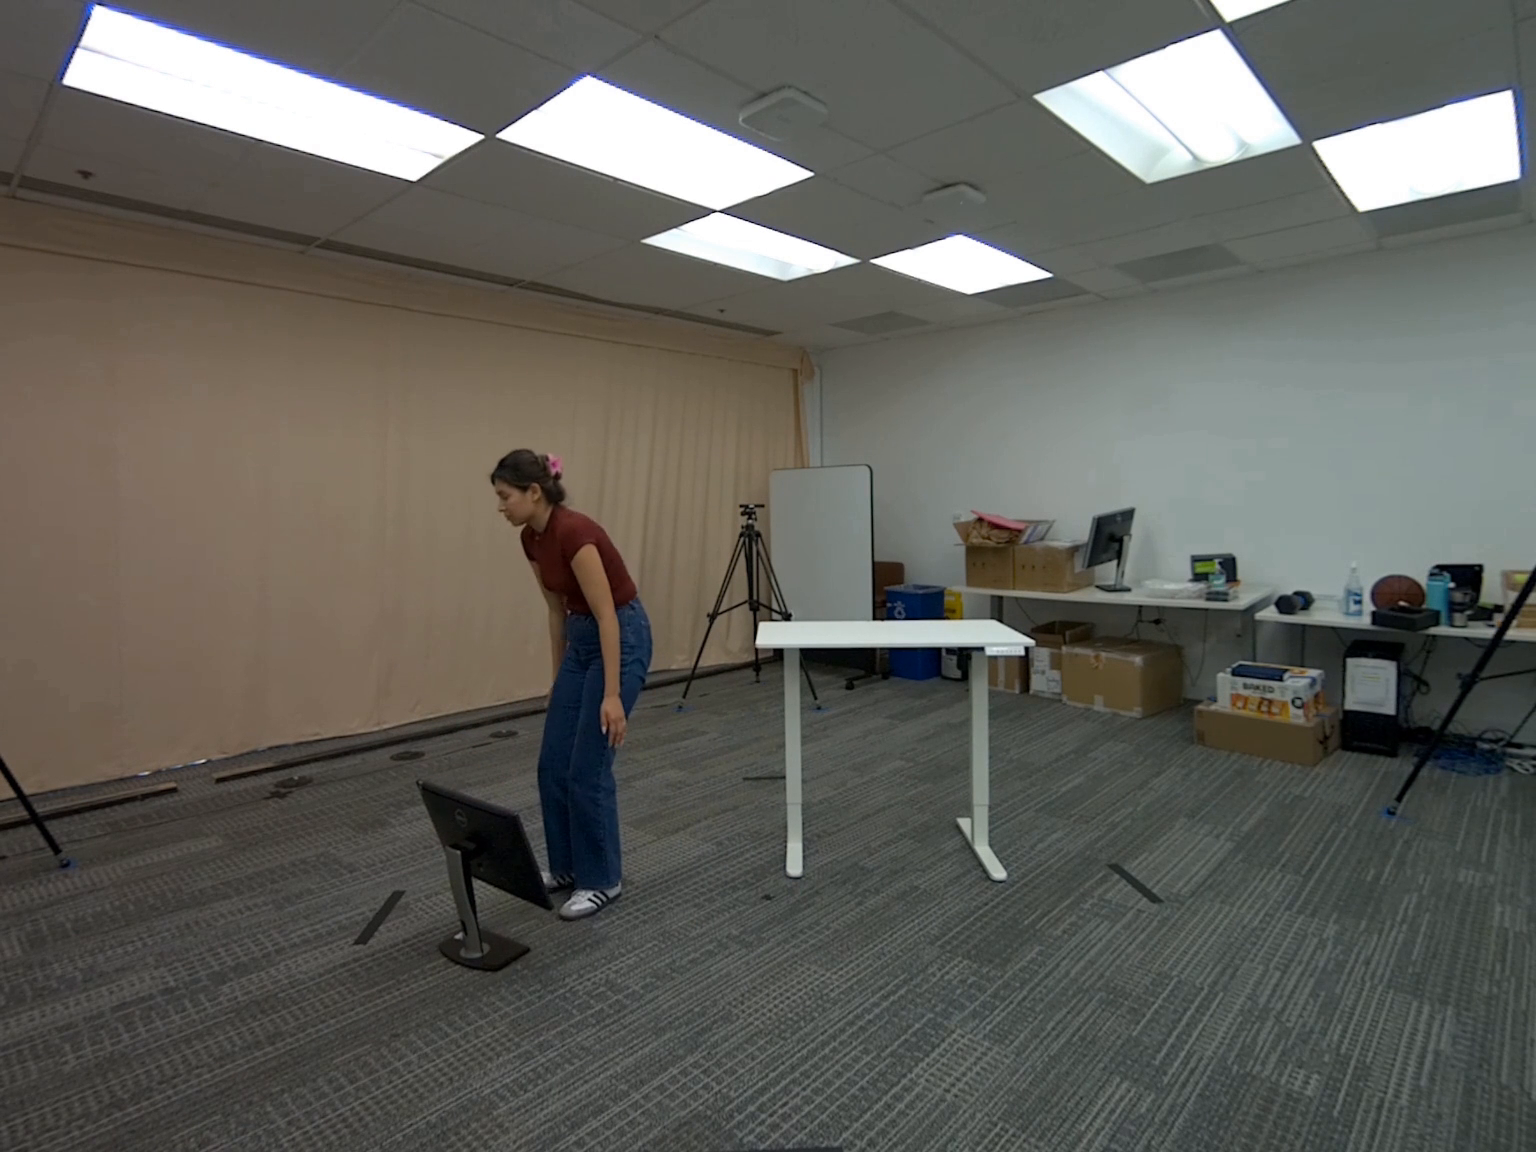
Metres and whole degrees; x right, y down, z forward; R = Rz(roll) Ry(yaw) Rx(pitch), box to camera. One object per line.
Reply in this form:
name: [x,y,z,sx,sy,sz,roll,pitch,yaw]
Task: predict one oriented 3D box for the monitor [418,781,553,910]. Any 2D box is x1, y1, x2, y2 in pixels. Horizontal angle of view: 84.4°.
monitor: [-0.914,0.931,2.644,0.556,0.520,0.182,2,7,36]
